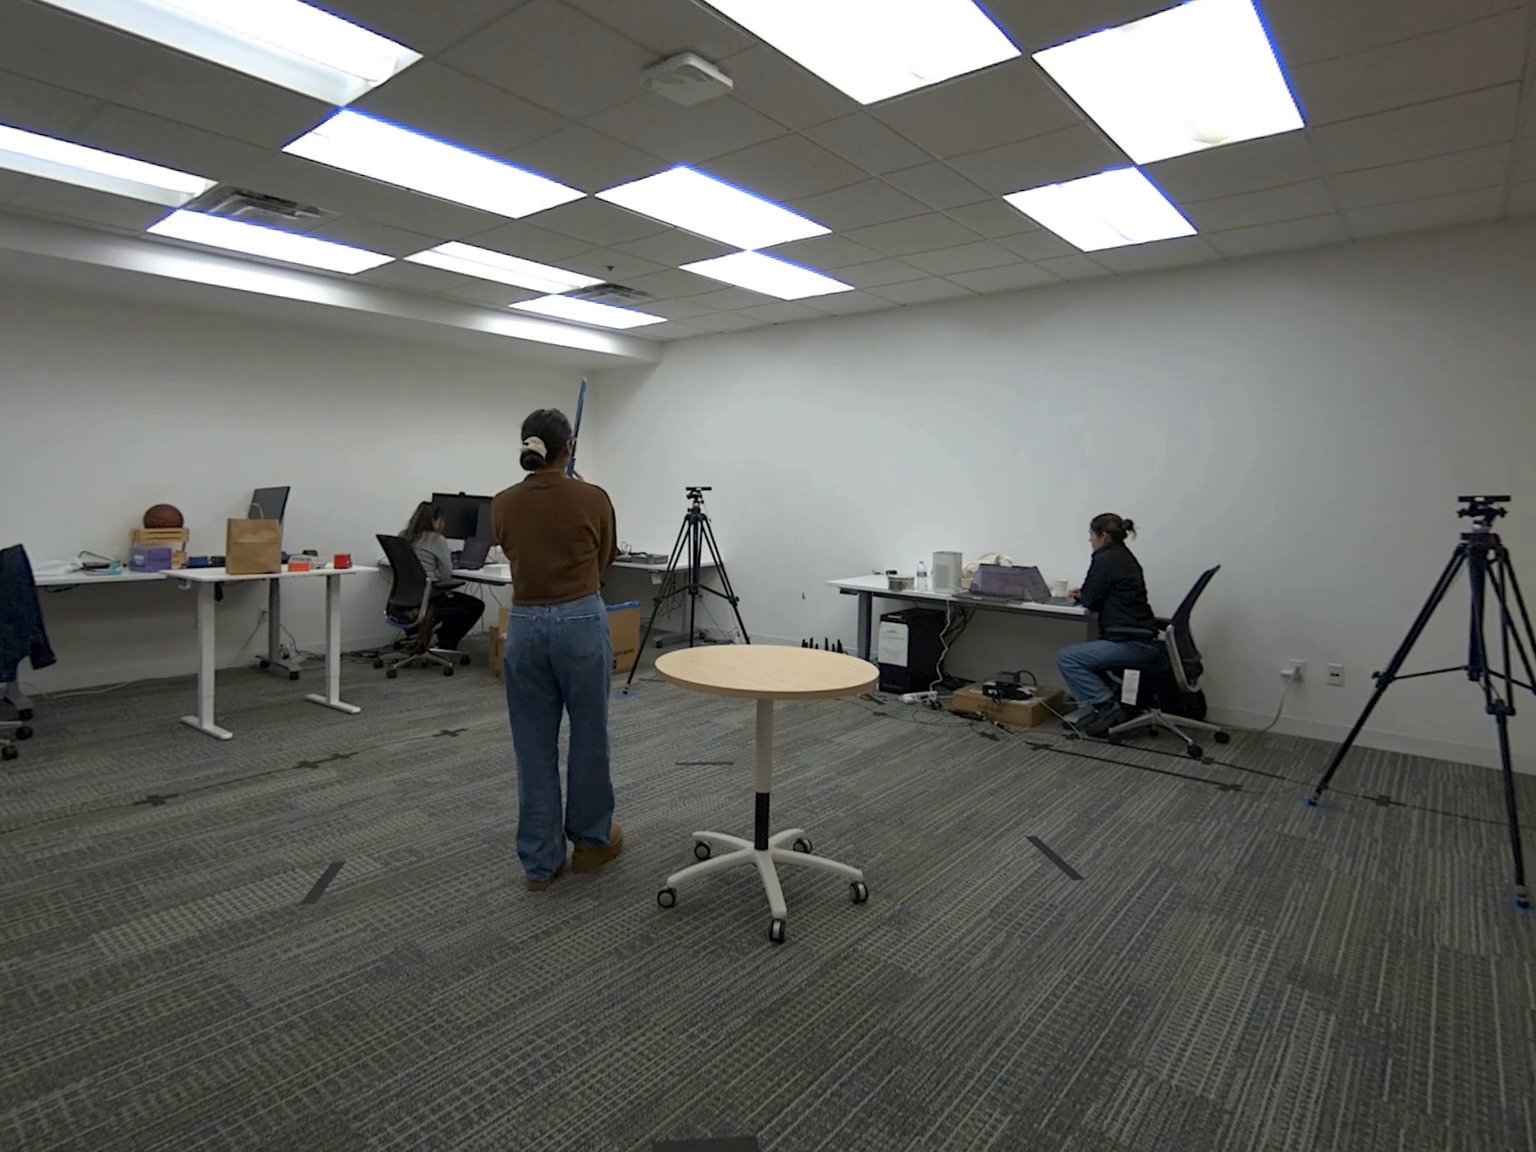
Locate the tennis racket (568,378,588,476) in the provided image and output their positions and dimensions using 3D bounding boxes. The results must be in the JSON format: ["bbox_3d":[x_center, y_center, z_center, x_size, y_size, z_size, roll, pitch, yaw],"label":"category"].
[{"bbox_3d":[-0.745,-0.542,3.218,0.031,0.436,0.215,7,-8,-15],"label":"tennis racket"}]
